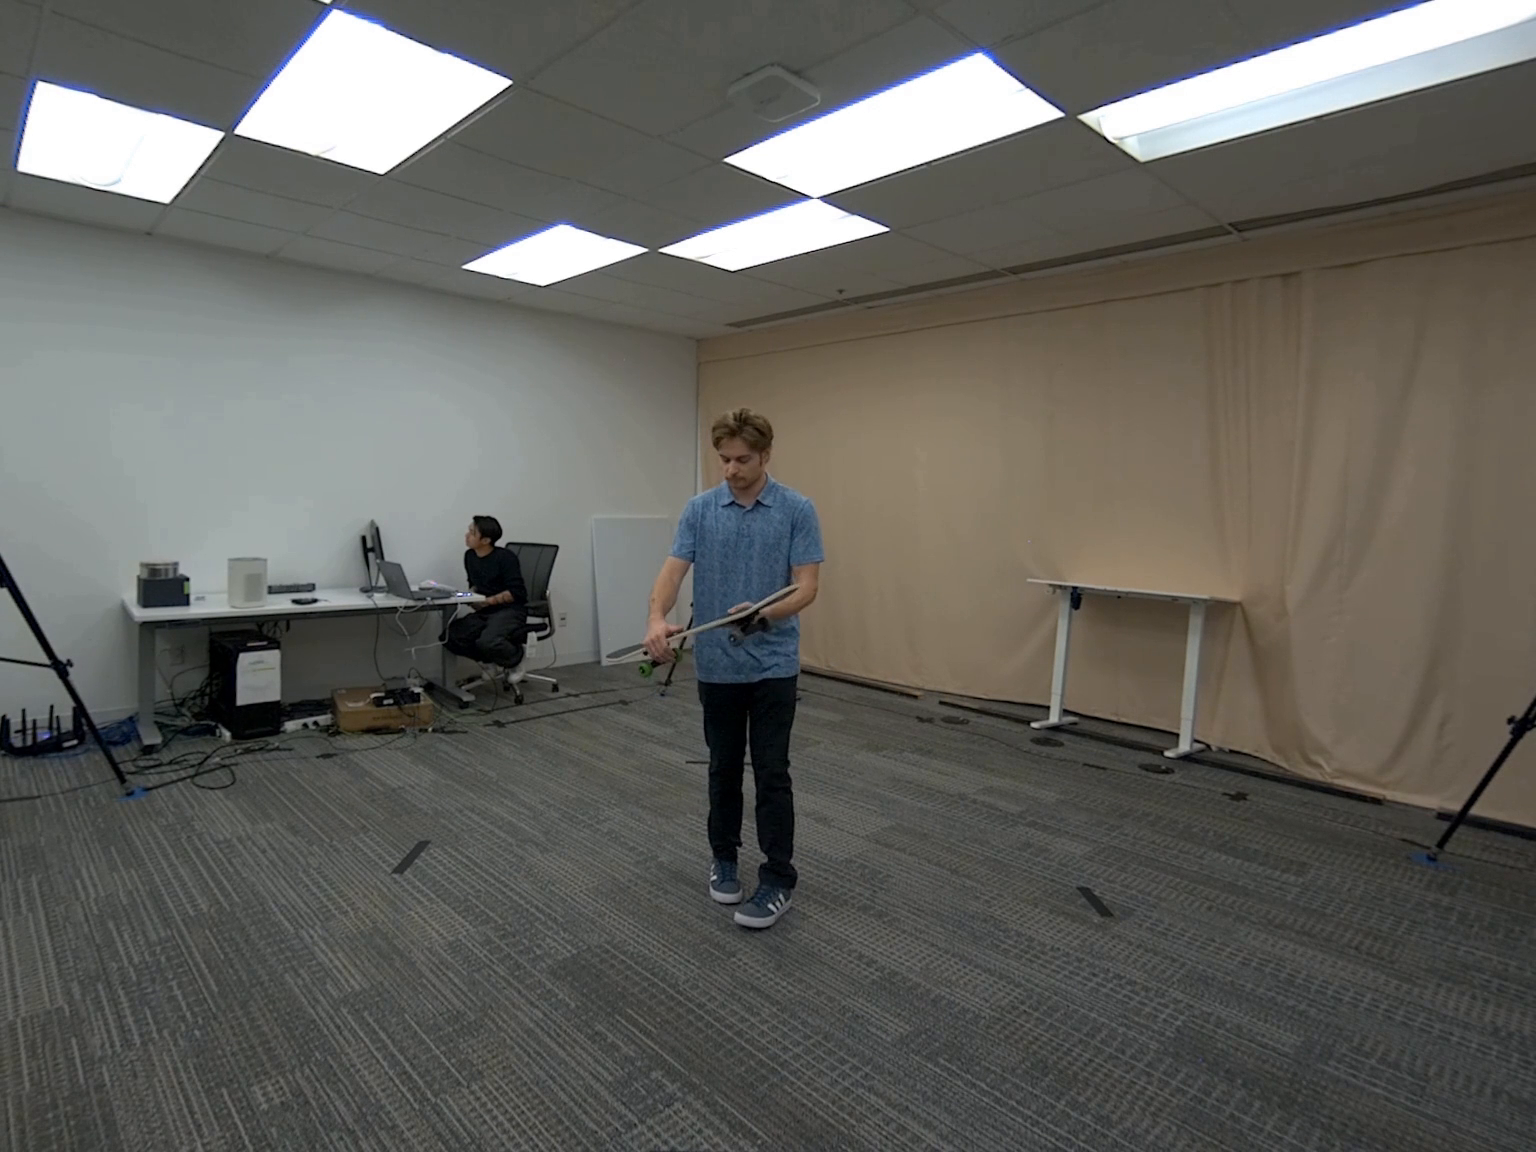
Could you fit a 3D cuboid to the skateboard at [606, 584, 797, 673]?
[{"bbox_3d":[-0.219,0.203,2.596,0.795,0.110,0.191,-22,1,36],"label":"skateboard"}]
